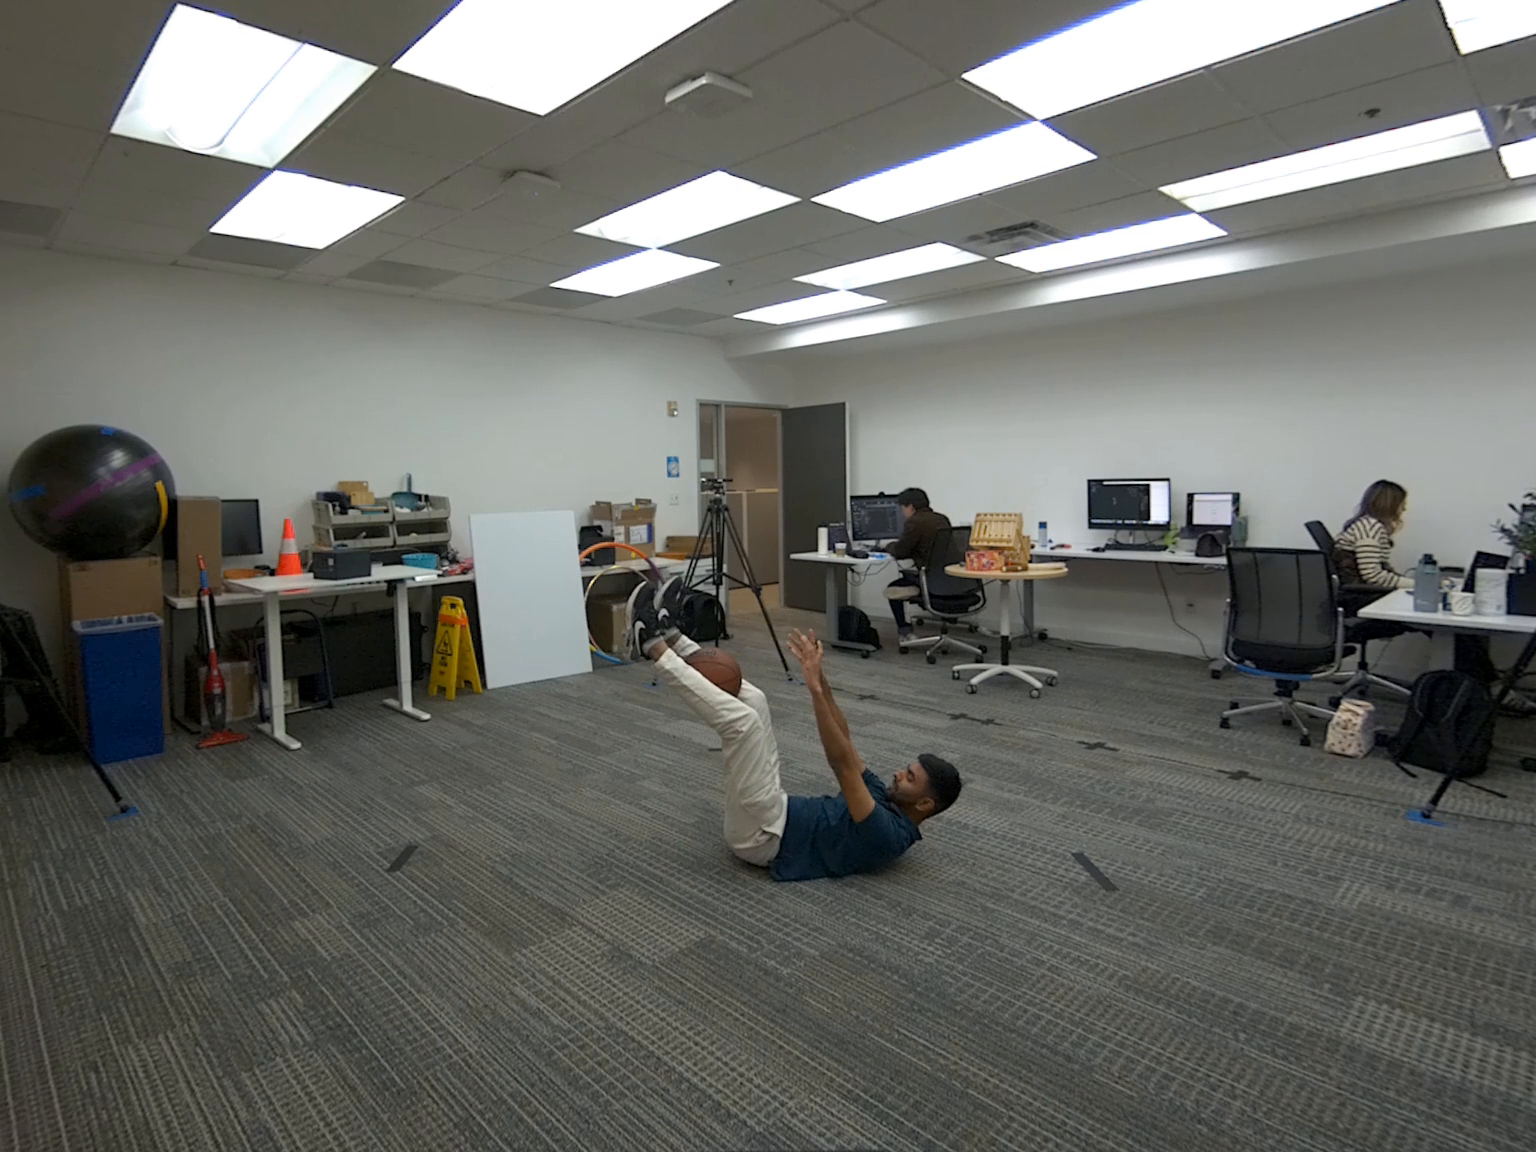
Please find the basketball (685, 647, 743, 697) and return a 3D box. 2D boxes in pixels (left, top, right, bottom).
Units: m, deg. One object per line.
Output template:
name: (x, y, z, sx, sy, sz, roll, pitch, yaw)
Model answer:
basketball: (-0.217, 0.386, 3.168, 0.236, 0.235, 0.237, -1, 5, -2)
